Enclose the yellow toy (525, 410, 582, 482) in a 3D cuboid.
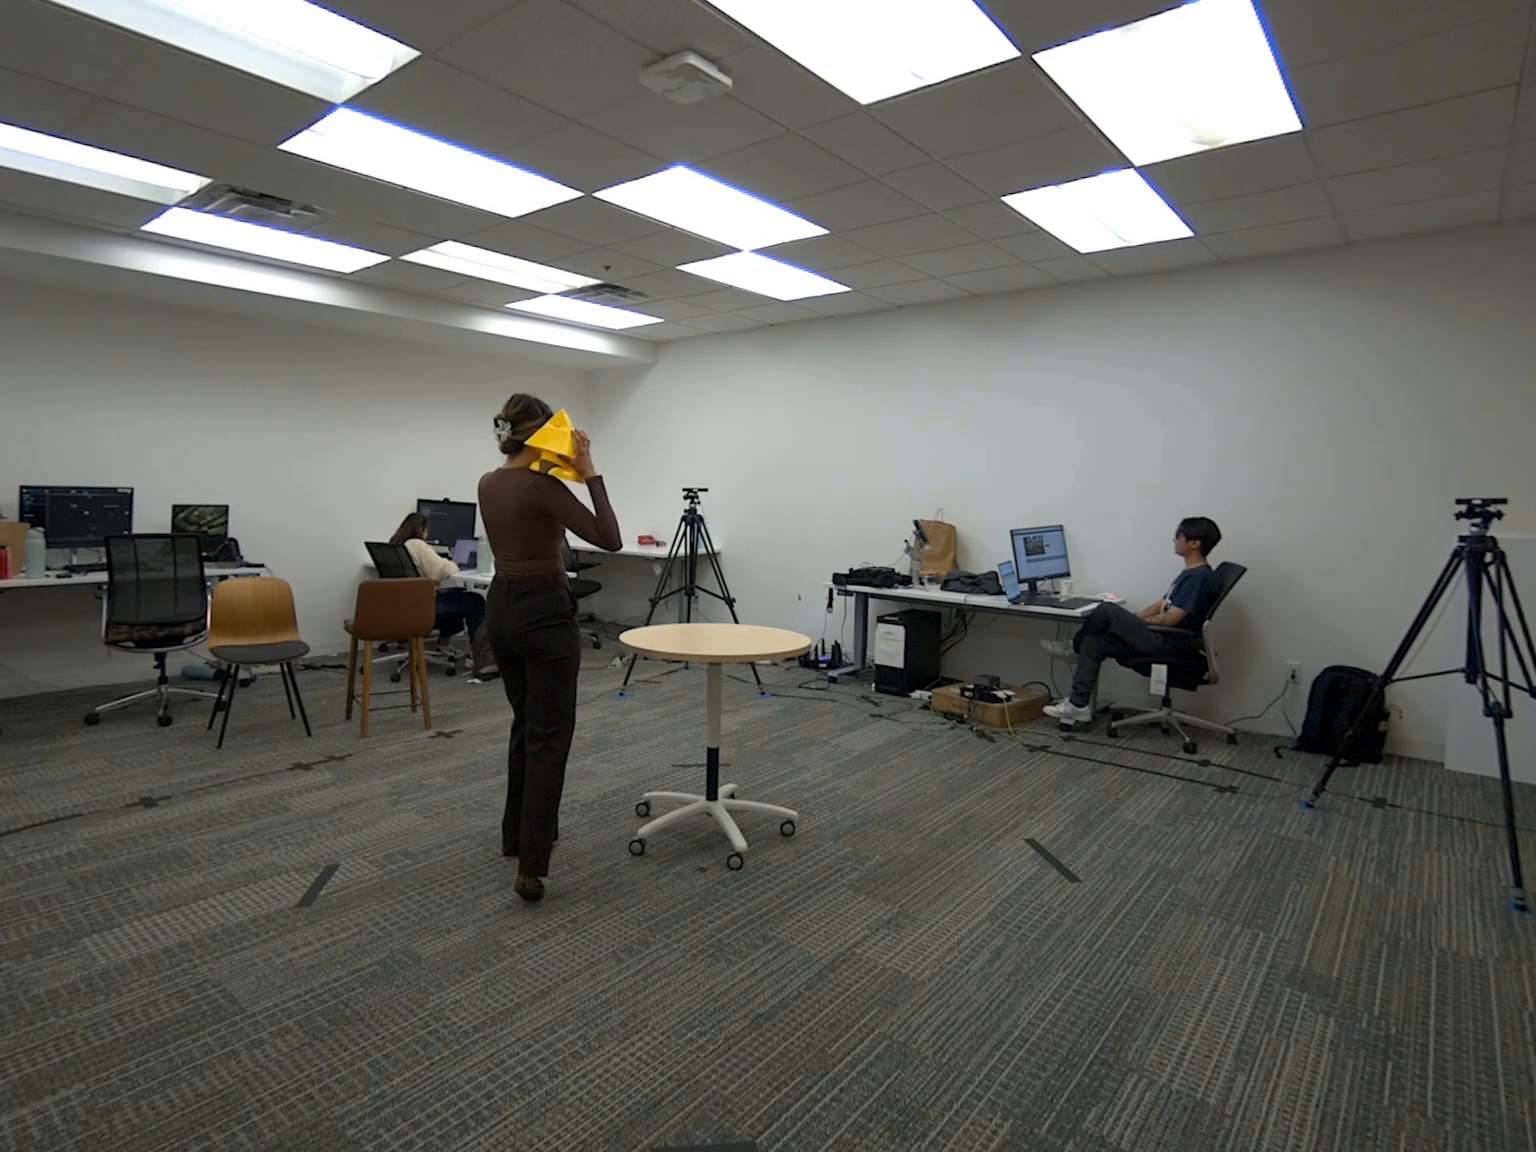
[{"bbox_3d":[-0.721,-0.460,2.967,0.212,0.230,0.187,18,2,29],"label":"yellow toy"}]
